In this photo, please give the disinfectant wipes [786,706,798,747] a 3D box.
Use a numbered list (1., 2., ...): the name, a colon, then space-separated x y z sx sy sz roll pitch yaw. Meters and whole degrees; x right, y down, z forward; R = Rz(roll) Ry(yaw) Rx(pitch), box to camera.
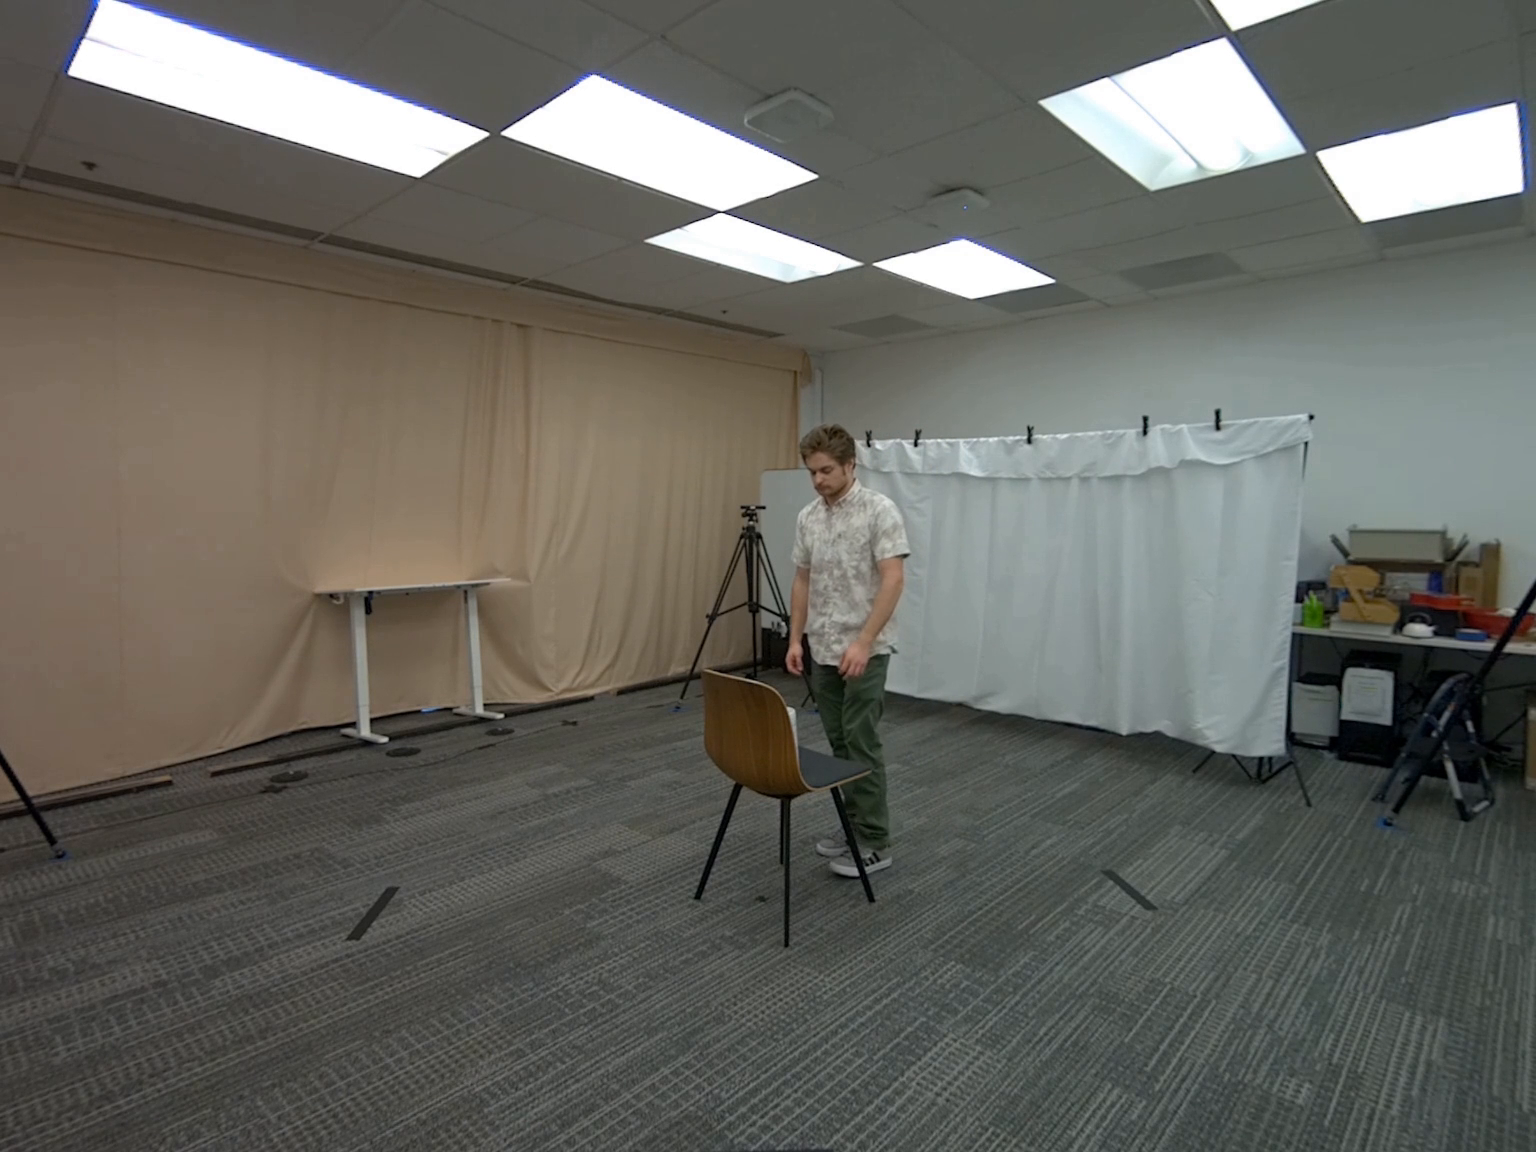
1. disinfectant wipes: 0.054 0.573 2.899 0.118 0.217 0.118 -4 4 -2
